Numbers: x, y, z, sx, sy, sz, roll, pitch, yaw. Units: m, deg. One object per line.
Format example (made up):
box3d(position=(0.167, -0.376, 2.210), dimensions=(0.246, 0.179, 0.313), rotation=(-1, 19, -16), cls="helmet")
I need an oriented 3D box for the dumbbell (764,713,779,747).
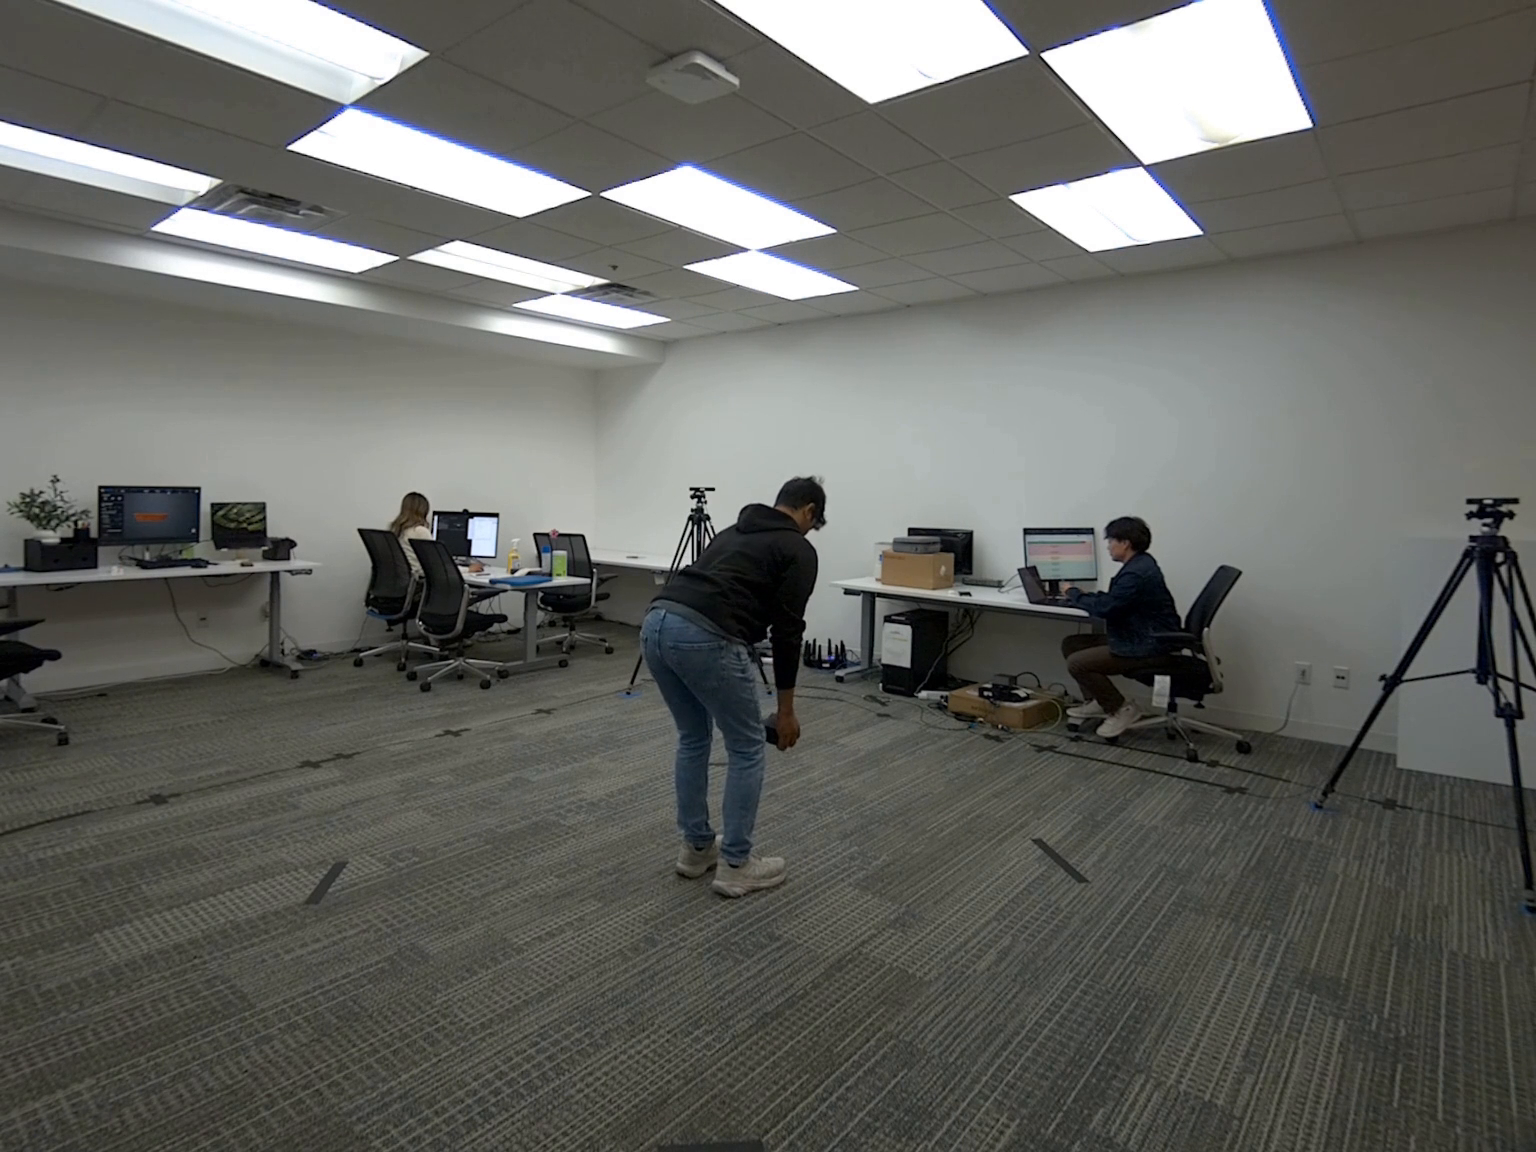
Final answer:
box3d(position=(-0.061, 0.550, 3.138), dimensions=(0.304, 0.105, 0.122), rotation=(10, 42, 41), cls="dumbbell")
